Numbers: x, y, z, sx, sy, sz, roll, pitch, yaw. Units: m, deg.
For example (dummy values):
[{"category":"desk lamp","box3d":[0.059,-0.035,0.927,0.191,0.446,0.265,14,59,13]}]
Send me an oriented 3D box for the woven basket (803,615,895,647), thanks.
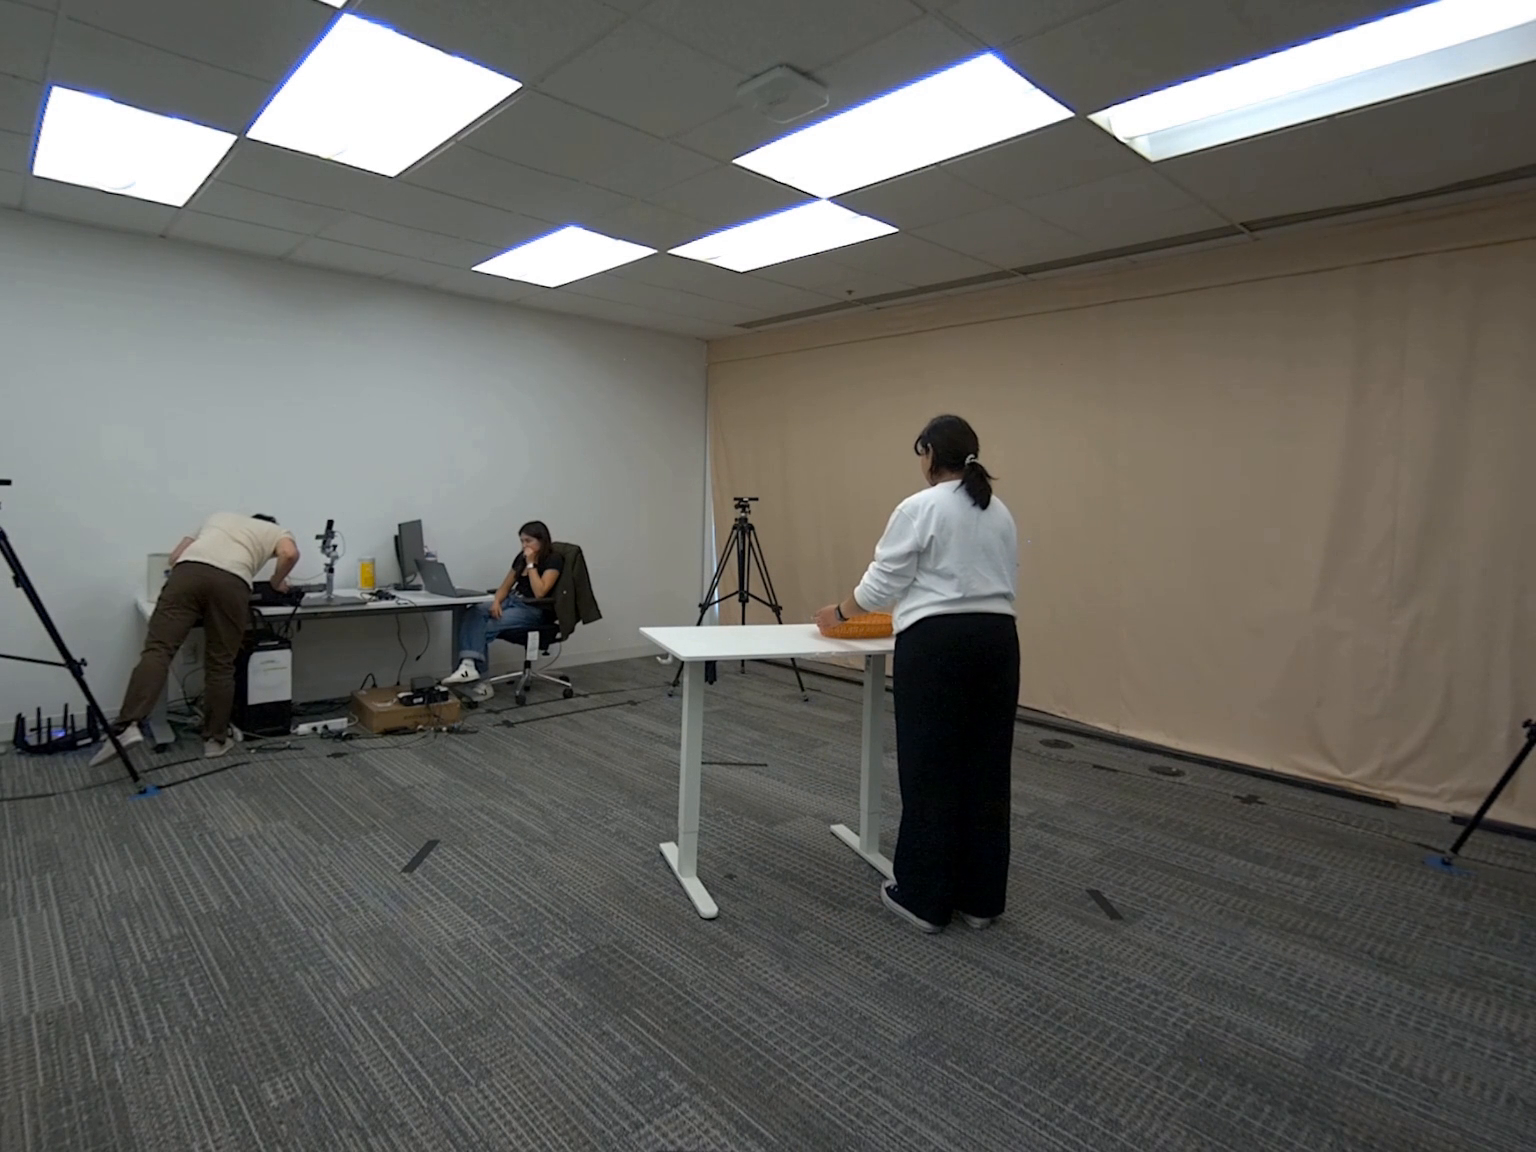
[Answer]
[{"category":"woven basket","box3d":[0.340,0.203,3.209,0.346,0.073,0.256,-1,5,-15]}]
